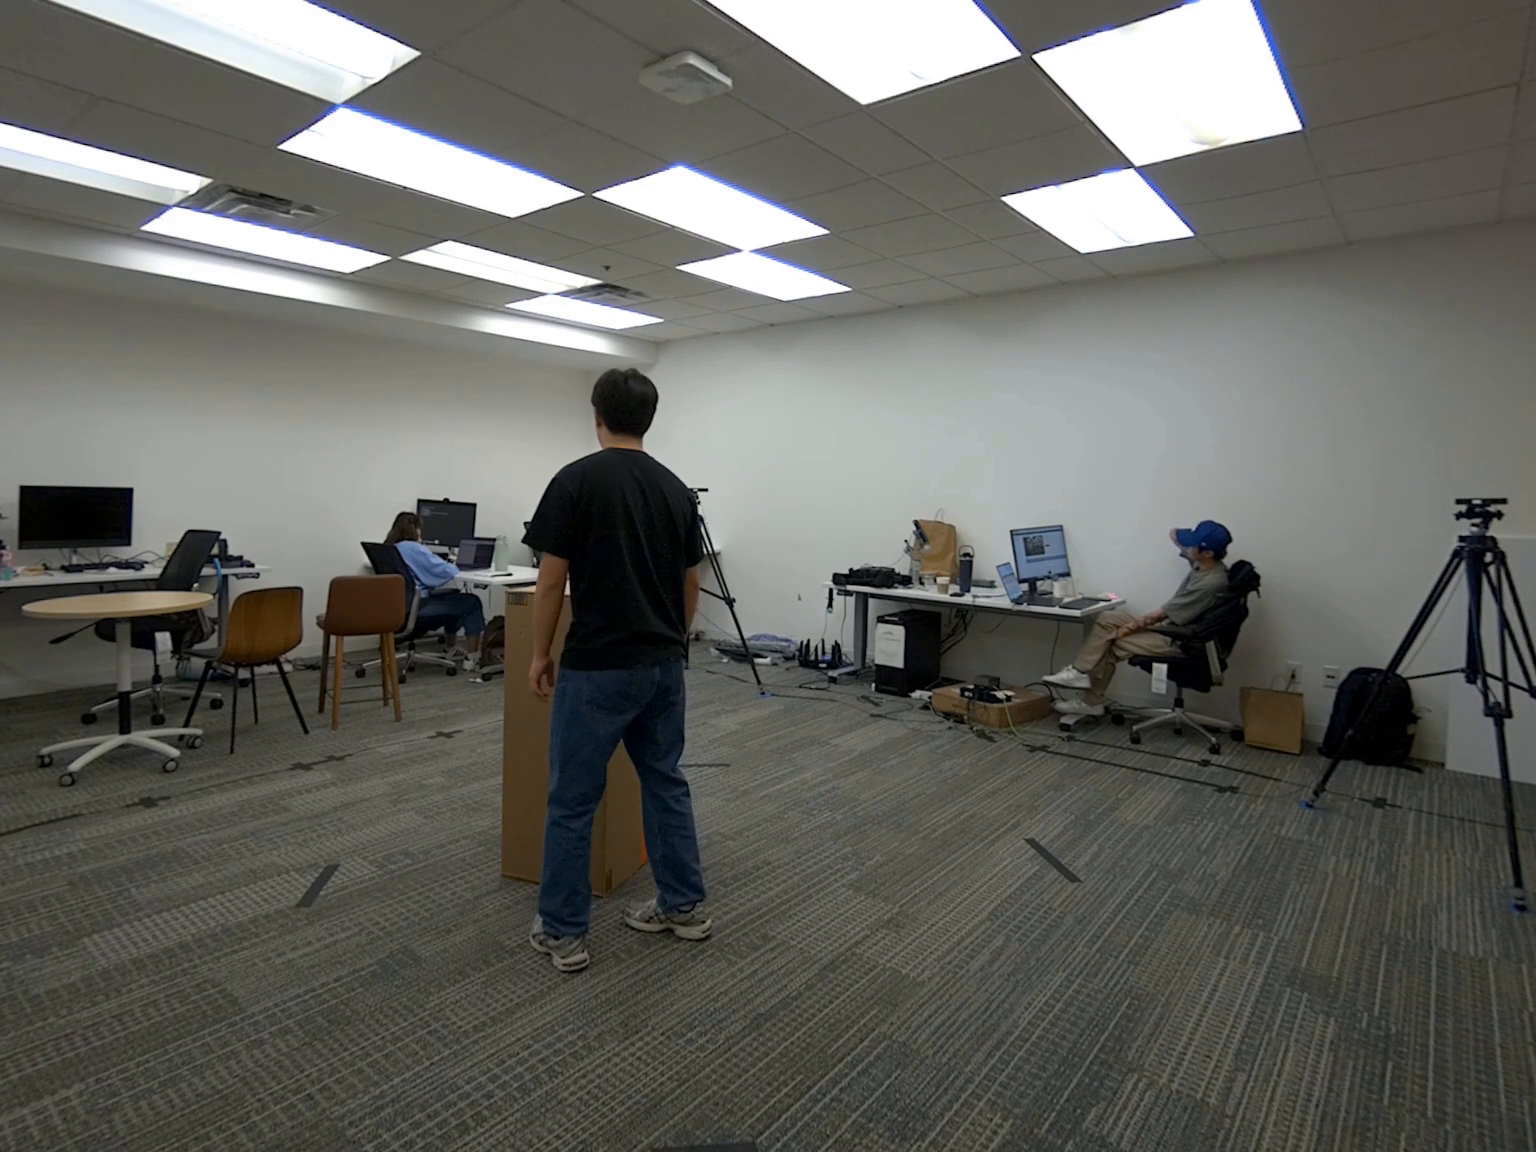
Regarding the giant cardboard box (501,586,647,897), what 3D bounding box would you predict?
[{"bbox_3d":[-0.658,0.540,3.191,0.457,1.024,0.573,3,3,20],"label":"giant cardboard box"}]
